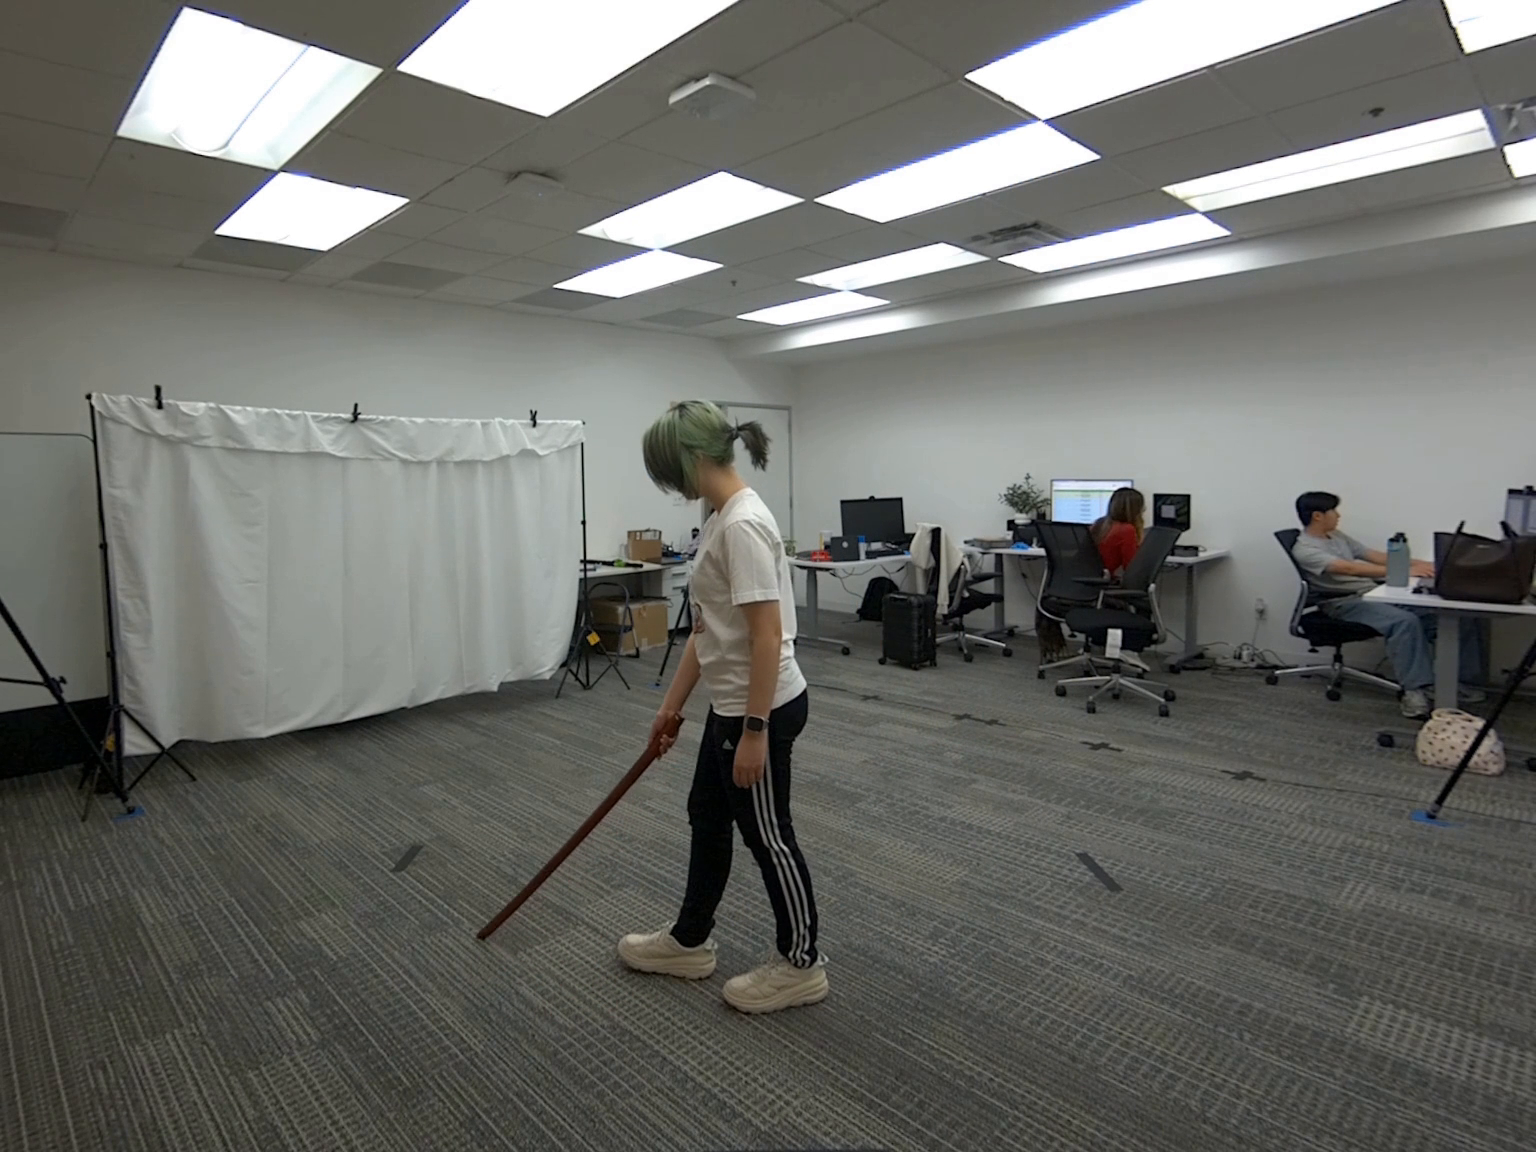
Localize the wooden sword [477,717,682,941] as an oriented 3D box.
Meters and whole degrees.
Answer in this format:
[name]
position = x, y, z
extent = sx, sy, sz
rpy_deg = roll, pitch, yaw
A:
[wooden sword]
position = -0.568, 0.762, 2.485
extent = 0.025, 1.024, 0.050
rpy_deg = 50, 18, 26
